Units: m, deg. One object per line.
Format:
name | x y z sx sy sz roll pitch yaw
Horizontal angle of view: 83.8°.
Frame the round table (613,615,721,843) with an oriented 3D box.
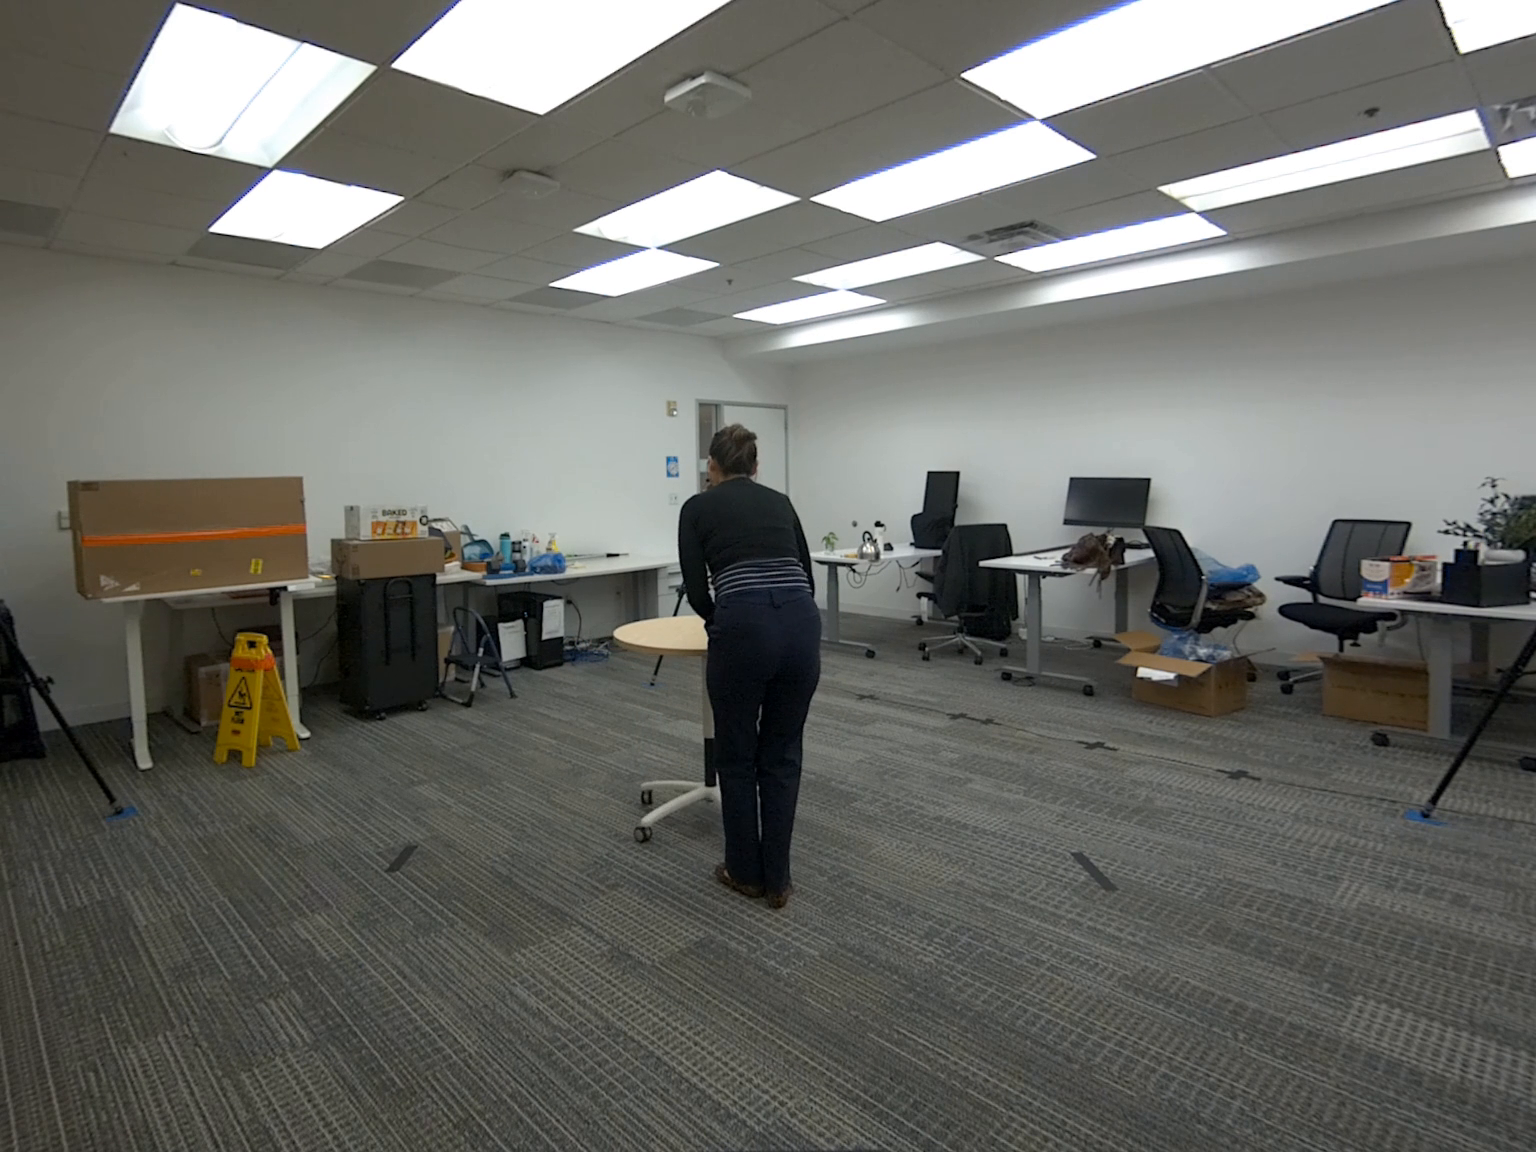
round table | -0.238 0.613 3.499 0.763 0.791 0.768 -1 4 -2
